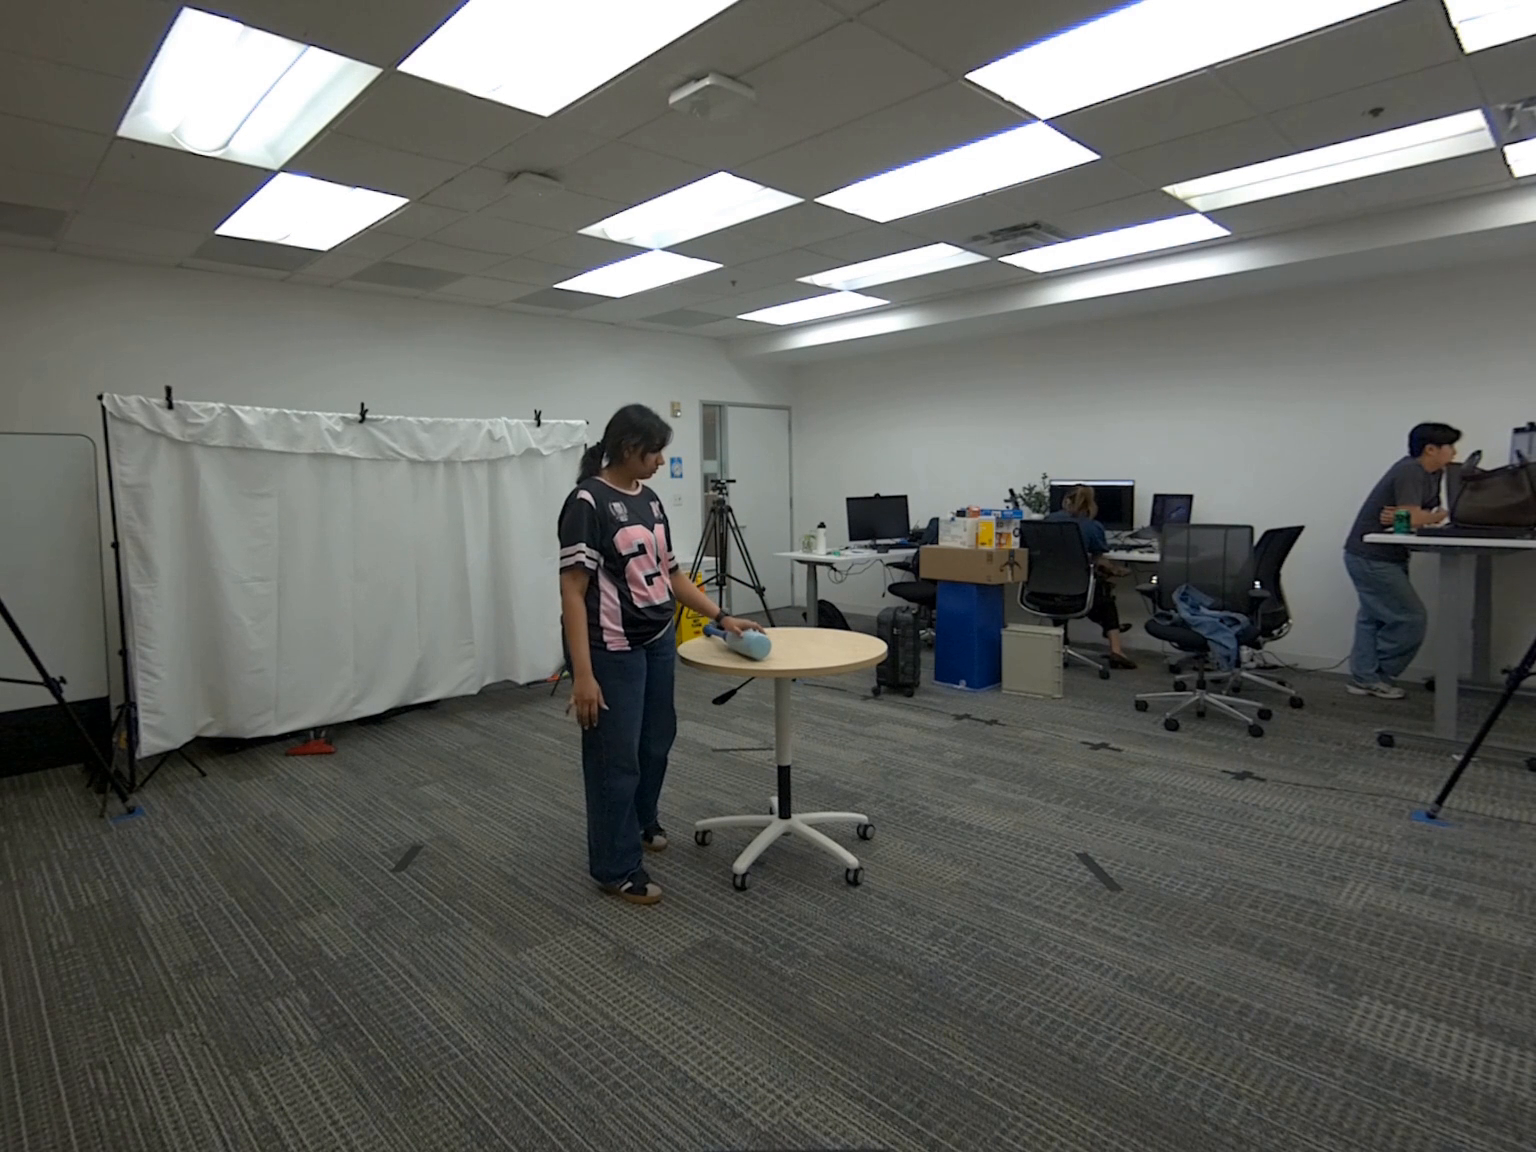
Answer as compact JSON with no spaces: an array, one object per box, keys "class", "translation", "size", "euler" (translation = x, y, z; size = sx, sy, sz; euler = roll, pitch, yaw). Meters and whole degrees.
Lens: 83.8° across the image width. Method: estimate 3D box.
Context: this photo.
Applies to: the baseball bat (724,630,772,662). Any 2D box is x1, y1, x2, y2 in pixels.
[{"class":"baseball bat","translation":[-0.124,0.231,3.129],"size":[0.087,0.089,0.554],"euler":[-3,3,-22]}]
